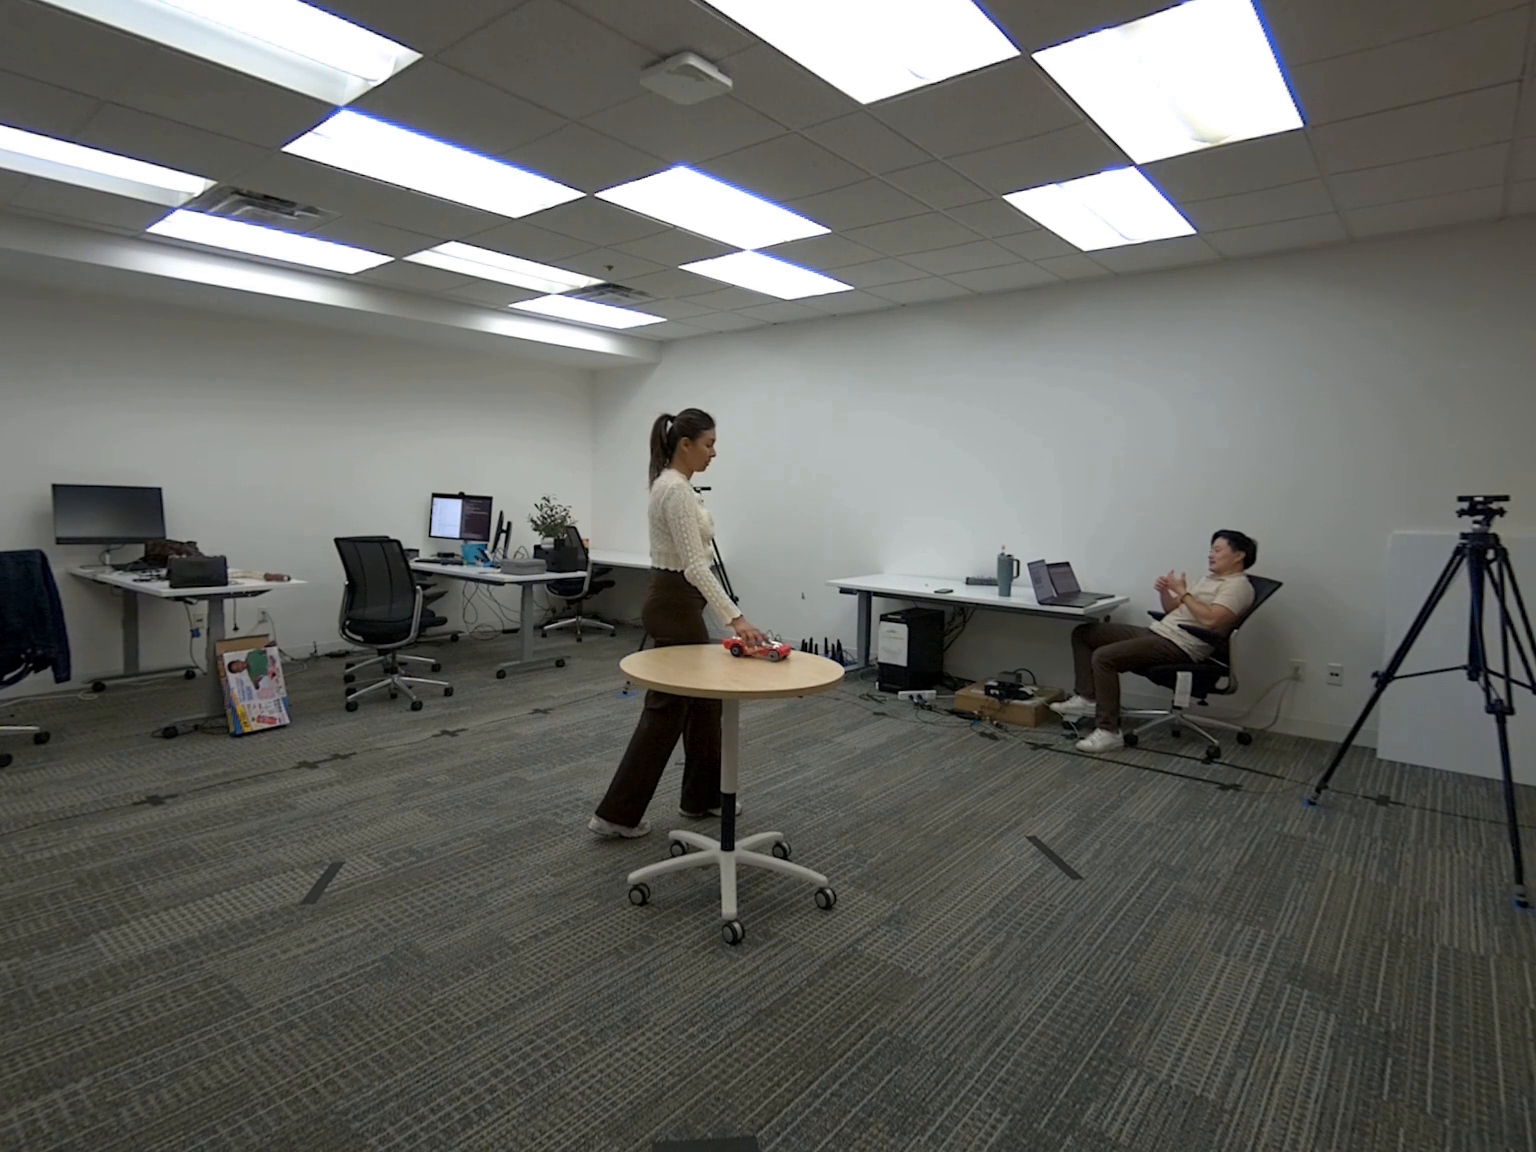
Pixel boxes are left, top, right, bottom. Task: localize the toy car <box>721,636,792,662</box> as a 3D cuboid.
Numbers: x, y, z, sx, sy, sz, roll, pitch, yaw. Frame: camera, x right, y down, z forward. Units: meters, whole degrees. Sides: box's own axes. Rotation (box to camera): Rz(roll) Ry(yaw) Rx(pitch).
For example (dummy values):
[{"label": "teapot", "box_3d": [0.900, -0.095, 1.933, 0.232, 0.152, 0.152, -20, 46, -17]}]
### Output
[{"label": "toy car", "box_3d": [-0.057, 0.259, 3.075, 0.262, 0.083, 0.127, 16, 9, 23]}]
